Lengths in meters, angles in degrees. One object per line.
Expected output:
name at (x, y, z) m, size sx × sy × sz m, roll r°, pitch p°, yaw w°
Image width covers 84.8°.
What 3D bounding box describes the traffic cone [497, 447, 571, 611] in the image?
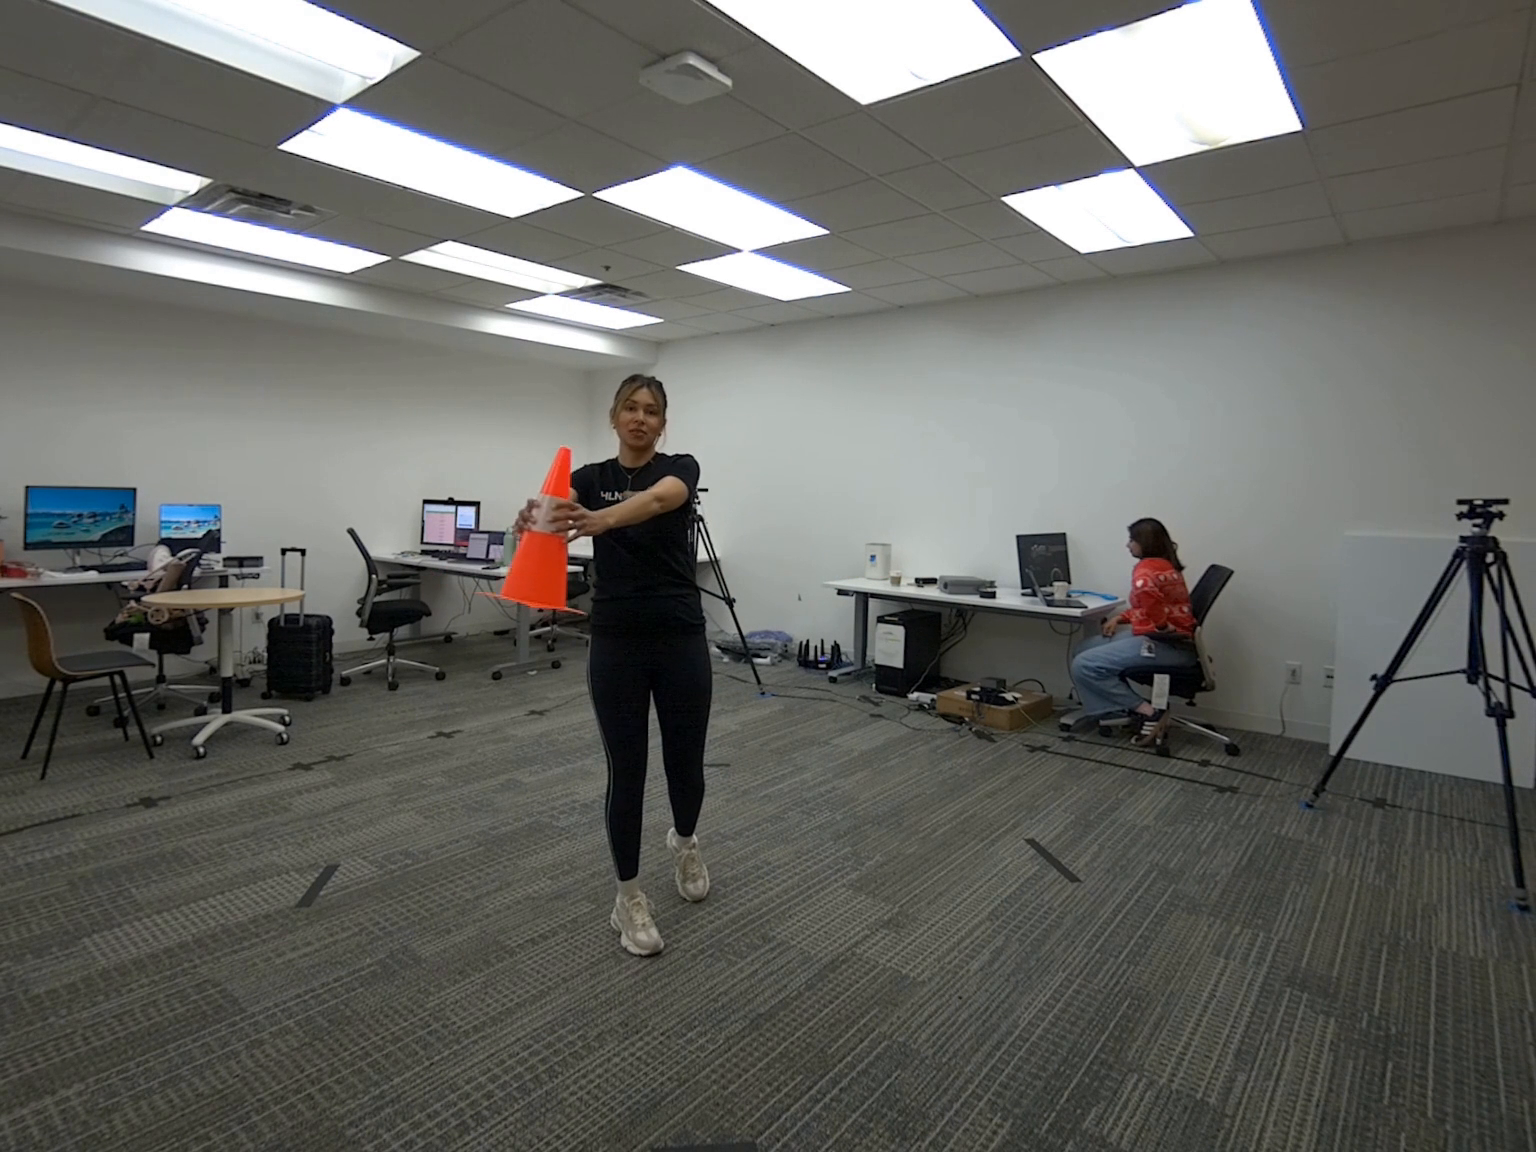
traffic cone at (-0.526, -0.121, 2.042) m, size 0.208 × 0.385 × 0.199 m, roll 10°, pitch -5°, yaw 21°
